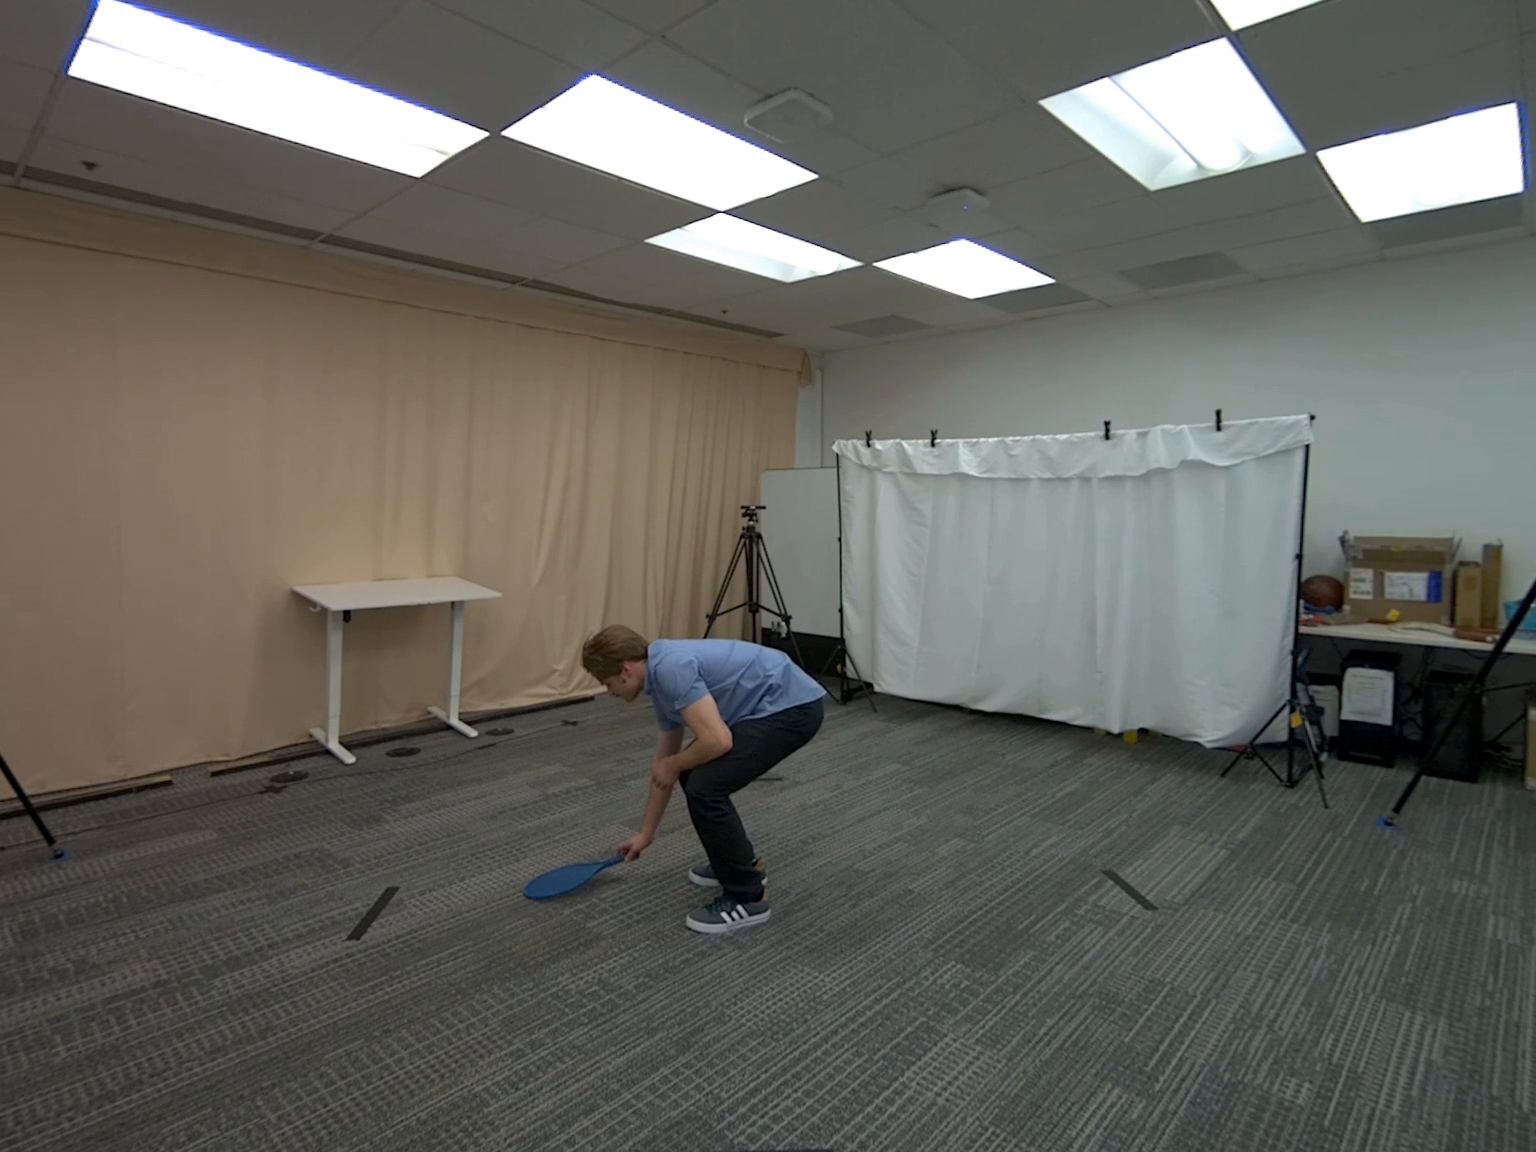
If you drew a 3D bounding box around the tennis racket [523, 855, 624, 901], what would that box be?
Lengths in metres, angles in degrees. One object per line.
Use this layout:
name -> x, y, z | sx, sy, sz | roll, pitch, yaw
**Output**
tennis racket -> -0.687, 1.095, 3.108 | 0.424, 0.031, 0.219 | -14, 7, -25
